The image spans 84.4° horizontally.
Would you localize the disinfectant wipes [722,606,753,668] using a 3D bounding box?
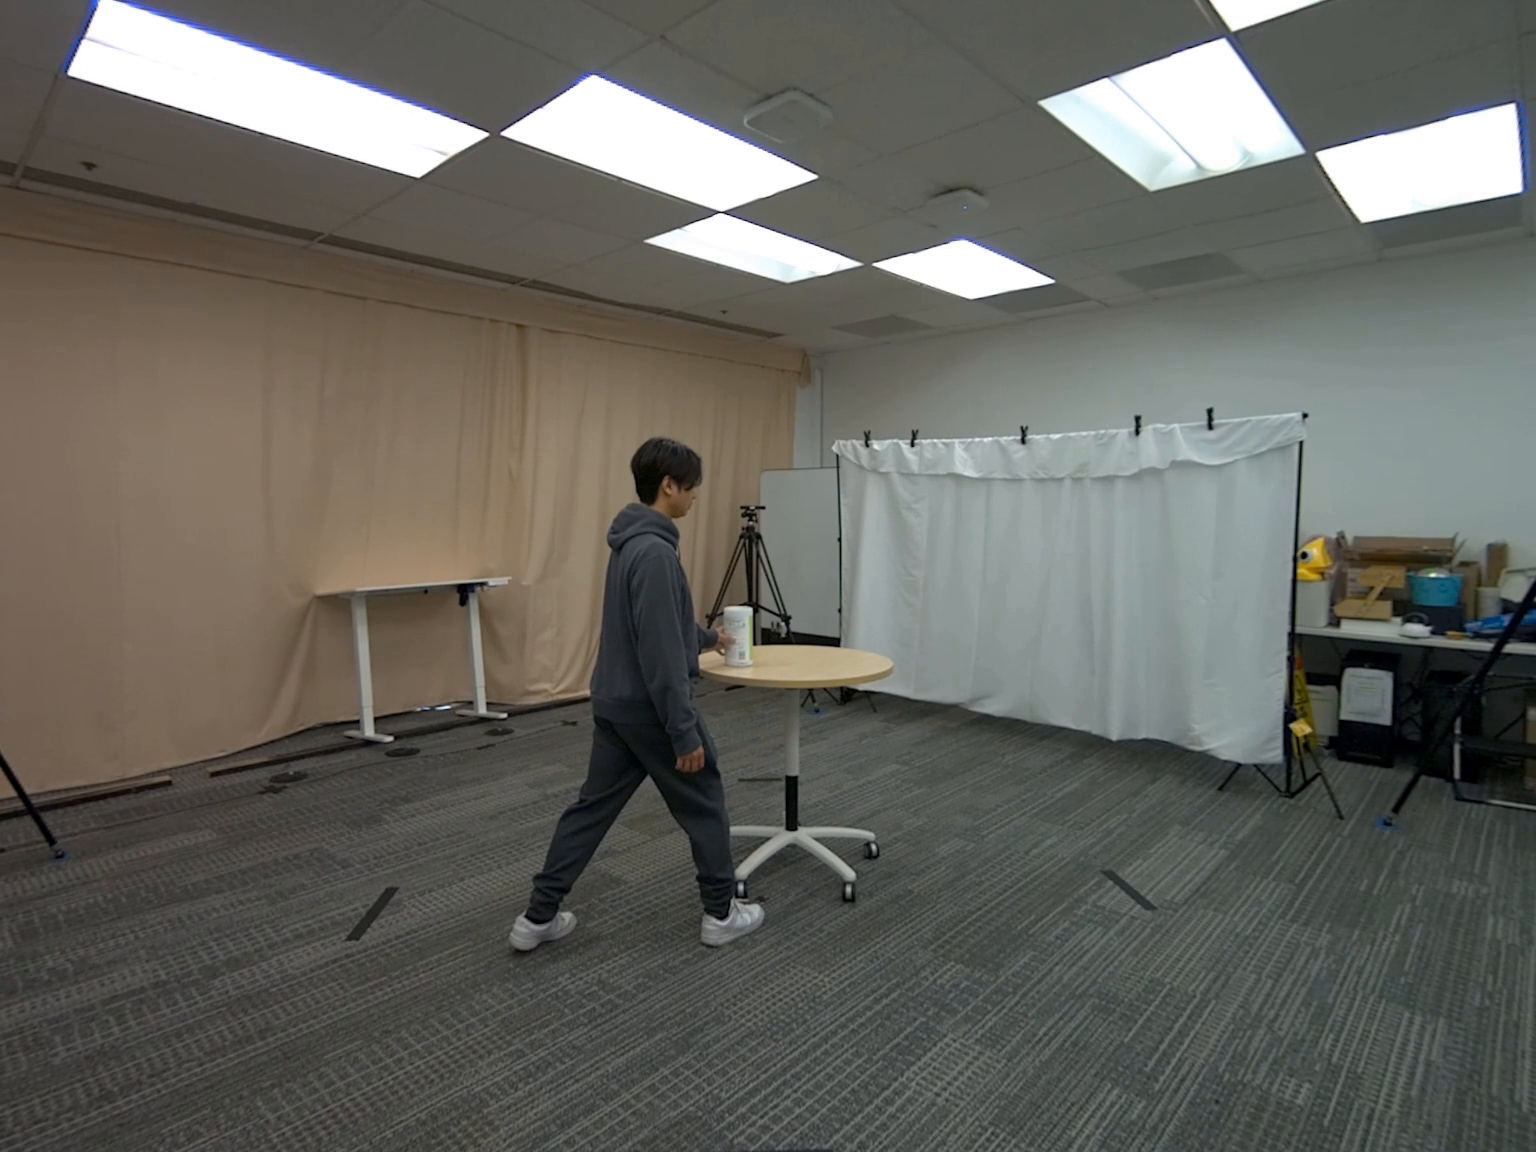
[{"bbox_3d":[-0.104,0.225,3.152,0.118,0.217,0.118,1,1,-2],"label":"disinfectant wipes"}]
